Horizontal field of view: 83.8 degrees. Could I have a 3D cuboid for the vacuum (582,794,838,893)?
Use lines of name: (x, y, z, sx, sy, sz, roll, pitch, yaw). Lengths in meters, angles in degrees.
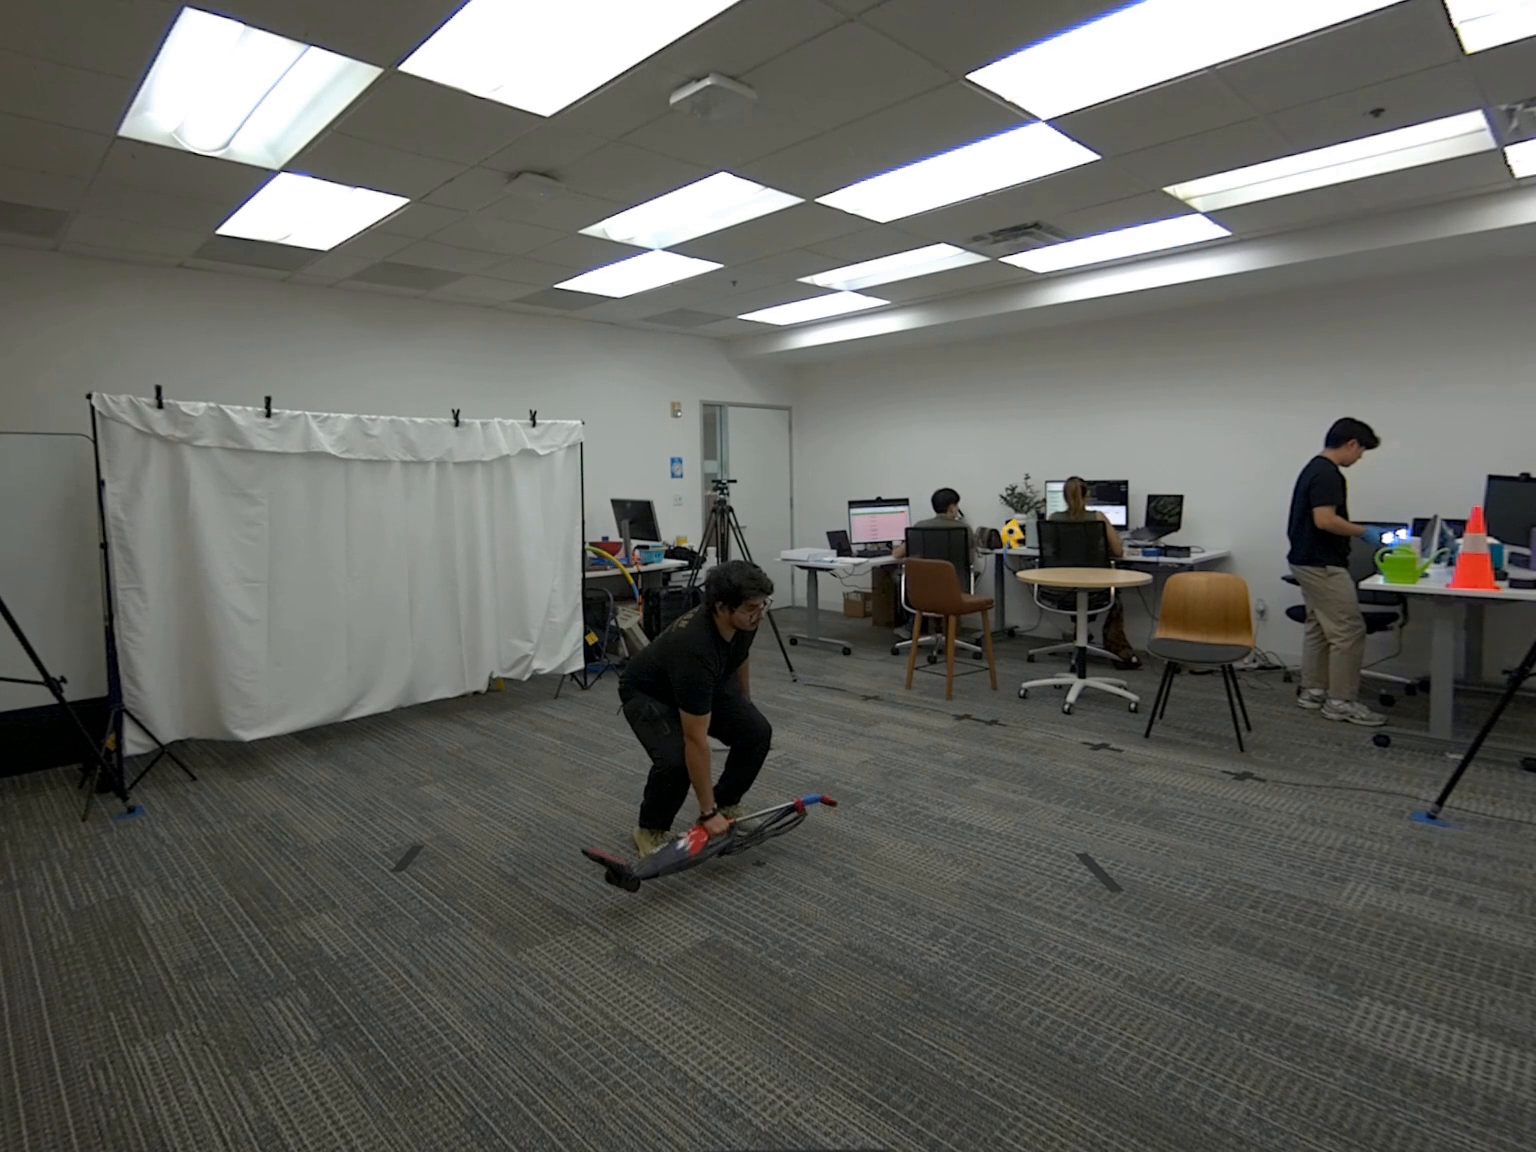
vacuum: (-0.116, 0.926, 3.053, 1.019, 0.144, 0.259, -1, -3, -41)
